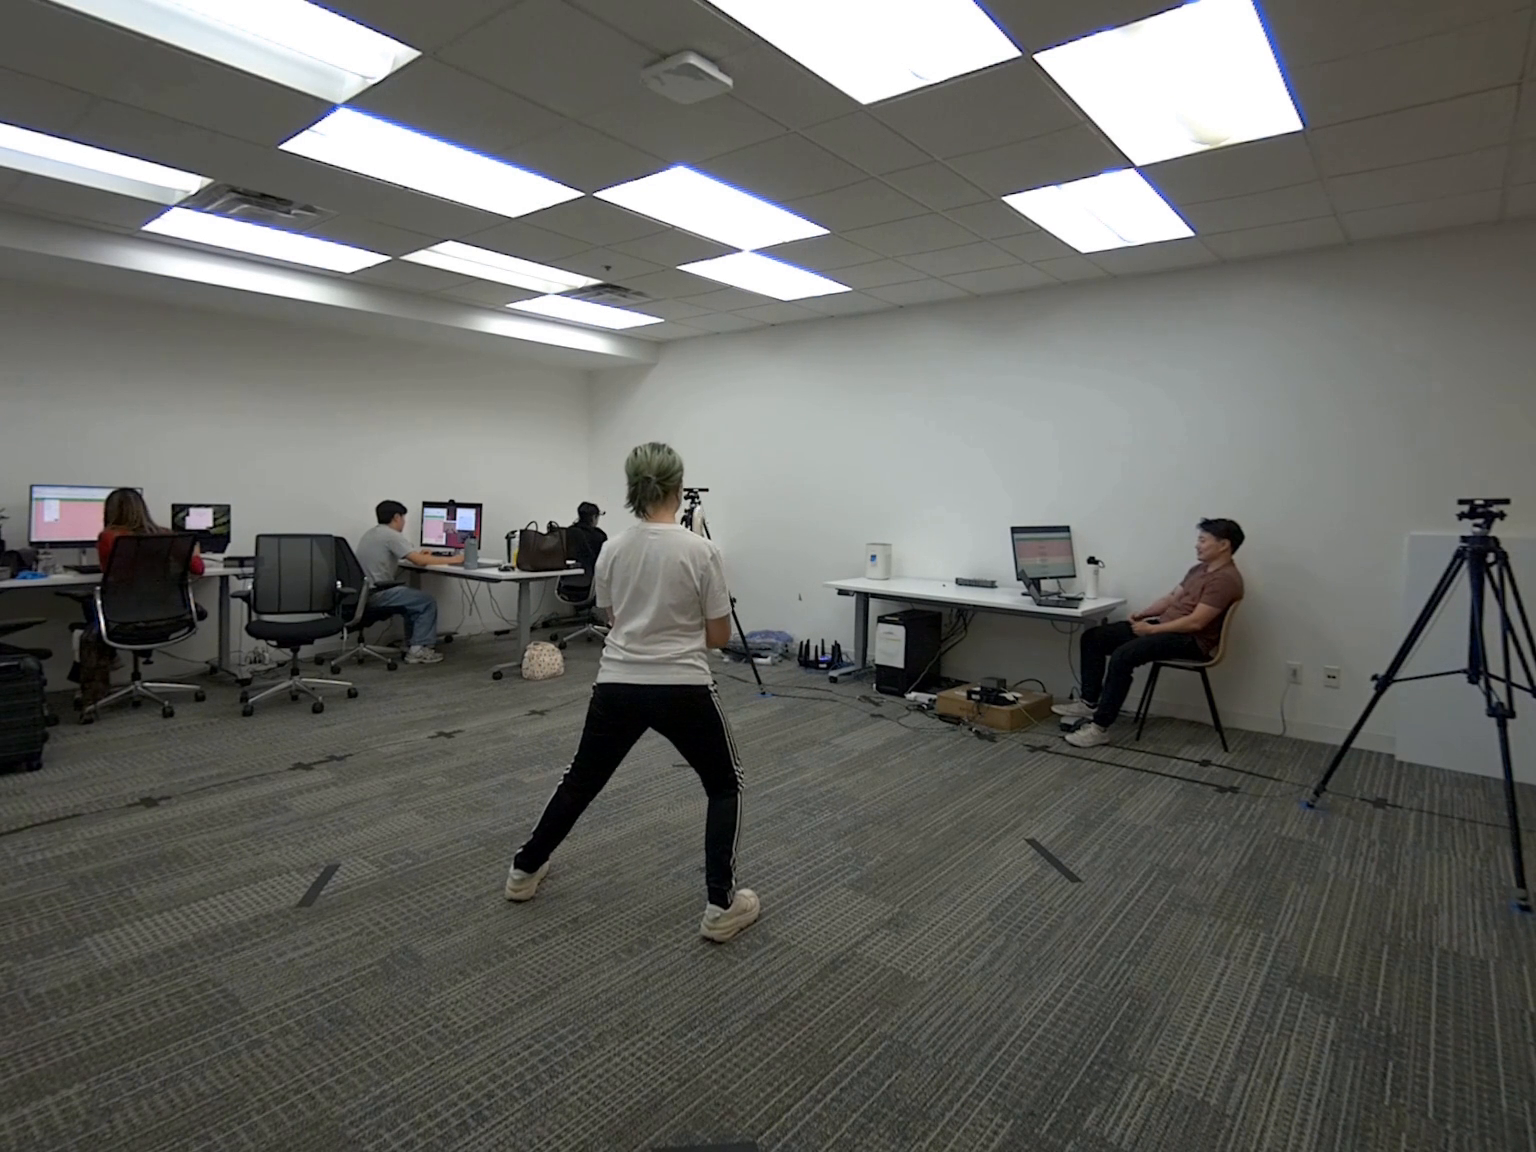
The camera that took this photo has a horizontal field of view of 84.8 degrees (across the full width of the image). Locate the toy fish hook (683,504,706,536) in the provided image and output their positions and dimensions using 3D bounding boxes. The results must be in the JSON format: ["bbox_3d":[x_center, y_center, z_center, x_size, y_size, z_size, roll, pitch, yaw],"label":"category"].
[{"bbox_3d":[-0.274,-0.007,3.119,0.048,0.514,0.220,1,-16,2],"label":"toy fish hook"}]
